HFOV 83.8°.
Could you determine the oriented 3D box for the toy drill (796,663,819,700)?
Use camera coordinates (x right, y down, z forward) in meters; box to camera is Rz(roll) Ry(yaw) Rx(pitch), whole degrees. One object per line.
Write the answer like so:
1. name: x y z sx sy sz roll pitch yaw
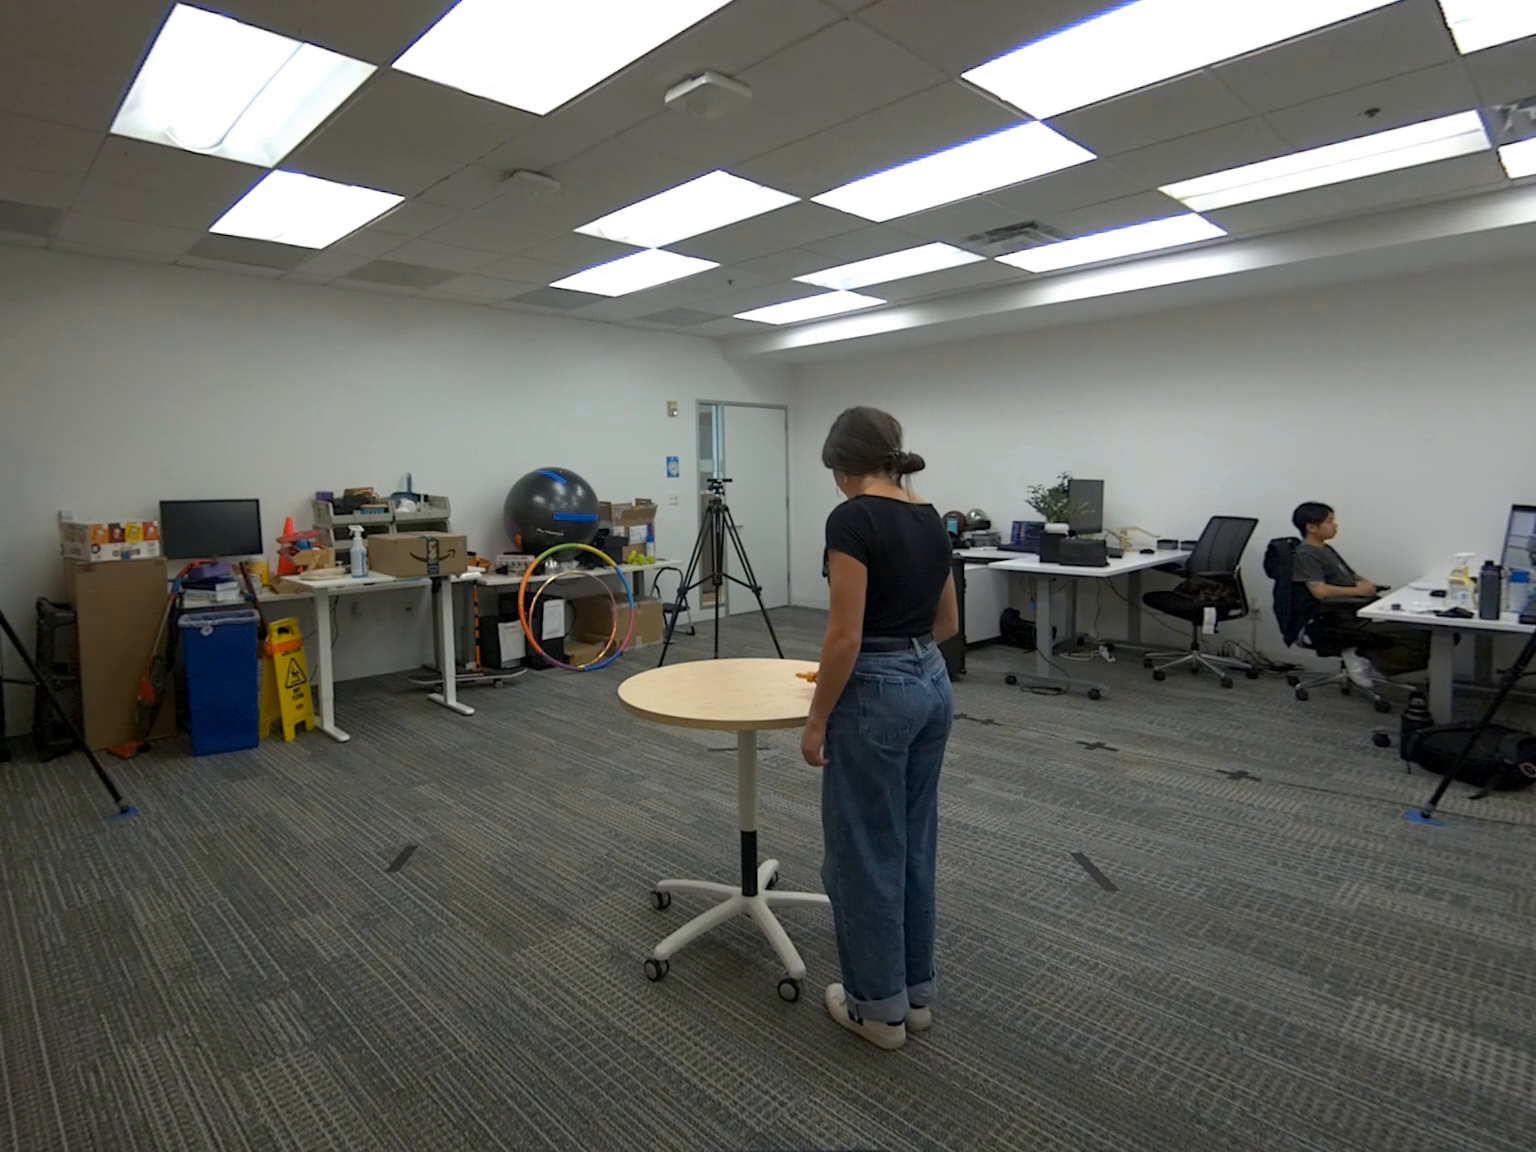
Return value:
1. toy drill: 0.174 0.305 2.434 0.172 0.061 0.145 7 9 9
